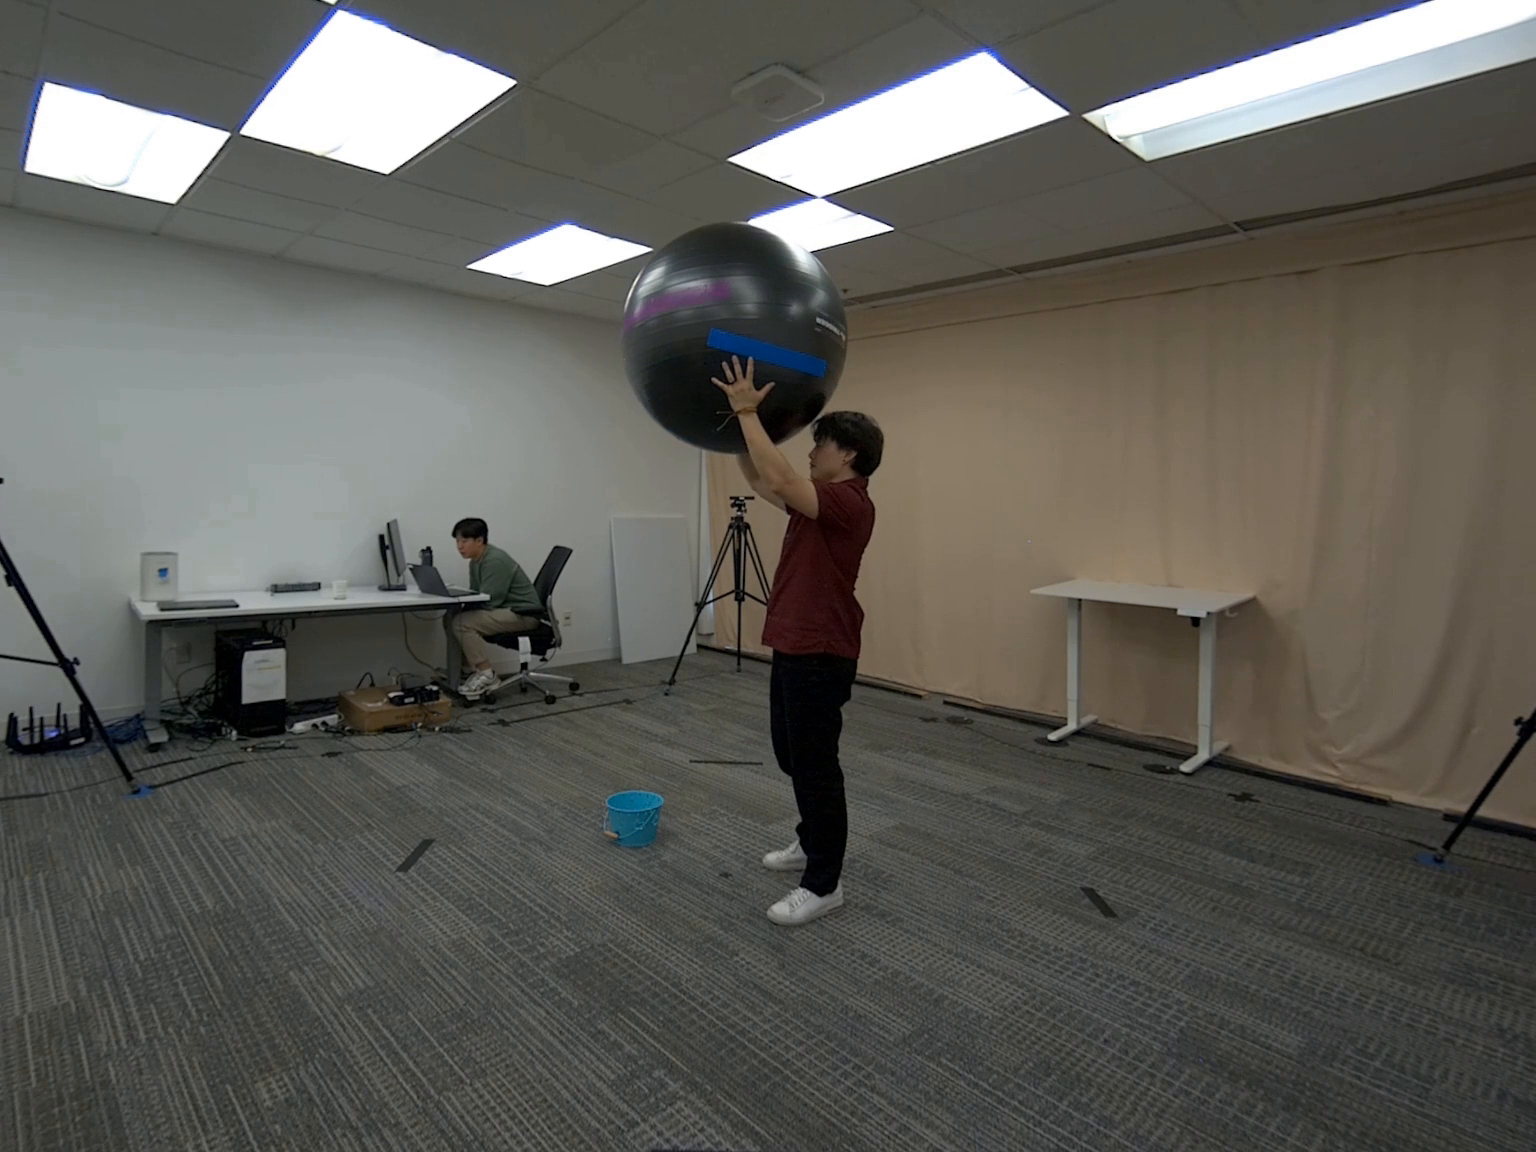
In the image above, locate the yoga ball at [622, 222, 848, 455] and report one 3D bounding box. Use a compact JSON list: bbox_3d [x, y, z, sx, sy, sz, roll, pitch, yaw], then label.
[{"bbox_3d":[-0.119,-0.790,2.843,0.757,0.756,0.761,1,4,-1],"label":"yoga ball"}]
